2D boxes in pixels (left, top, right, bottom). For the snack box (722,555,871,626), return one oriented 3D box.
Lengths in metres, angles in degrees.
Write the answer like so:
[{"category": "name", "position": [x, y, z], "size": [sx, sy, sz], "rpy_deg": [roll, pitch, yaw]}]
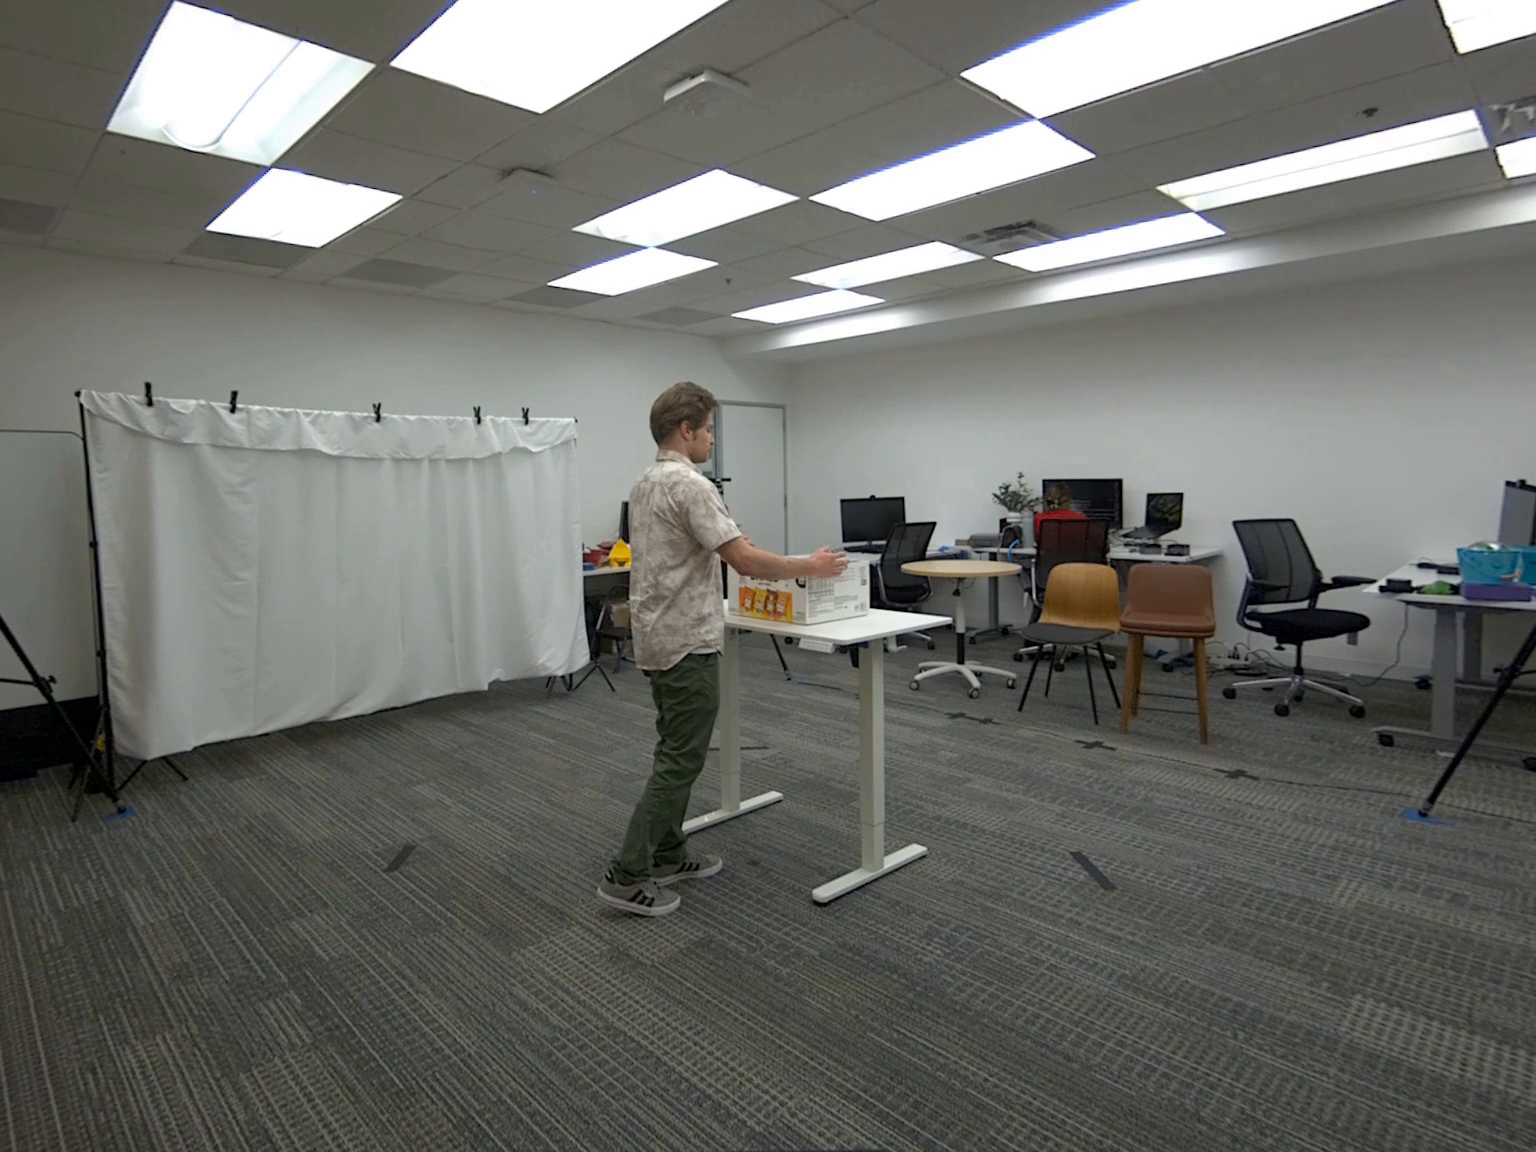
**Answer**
[{"category": "snack box", "position": [0.113, 0.044, 3.186], "size": [0.331, 0.205, 0.417], "rpy_deg": [-6, 7, -43]}]
